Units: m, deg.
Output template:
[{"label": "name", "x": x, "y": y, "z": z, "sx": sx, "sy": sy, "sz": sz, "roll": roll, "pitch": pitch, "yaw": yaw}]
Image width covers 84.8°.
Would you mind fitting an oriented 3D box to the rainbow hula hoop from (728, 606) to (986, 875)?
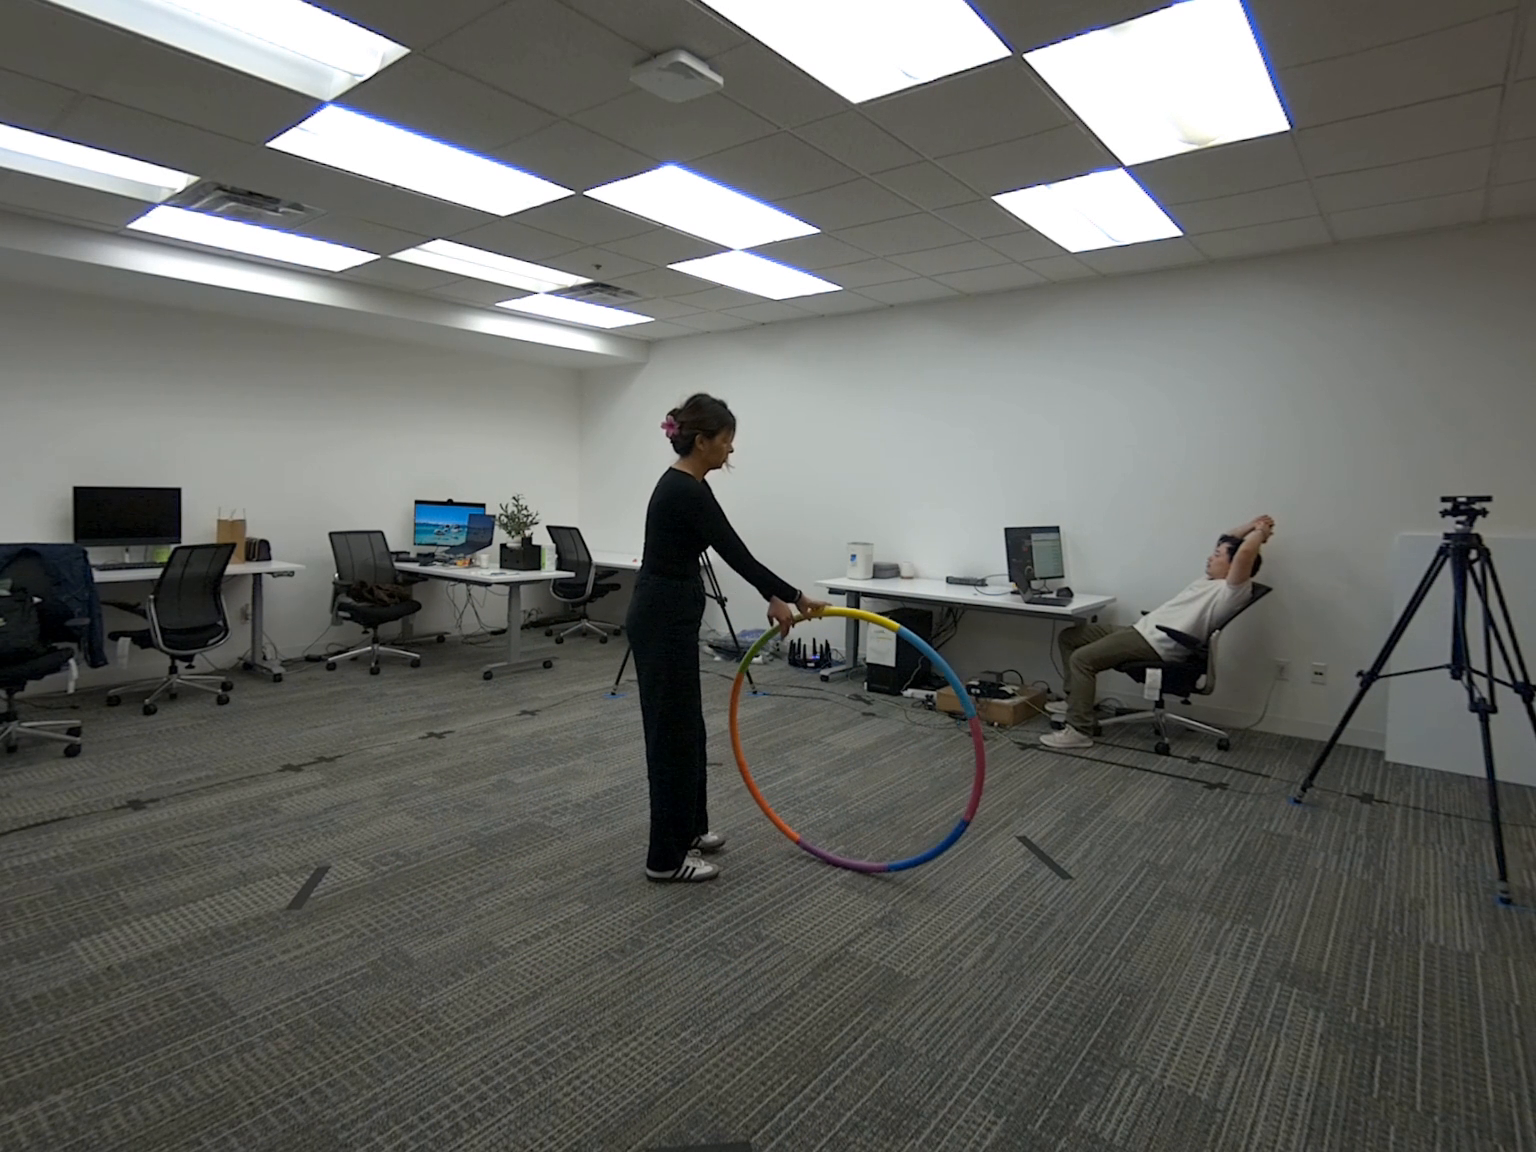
[{"label": "rainbow hula hoop", "x": 0.272, "y": 0.596, "z": 3.079, "sx": 1.008, "sy": 0.971, "sz": 0.035, "roll": 3, "pitch": 8, "yaw": 31}]
